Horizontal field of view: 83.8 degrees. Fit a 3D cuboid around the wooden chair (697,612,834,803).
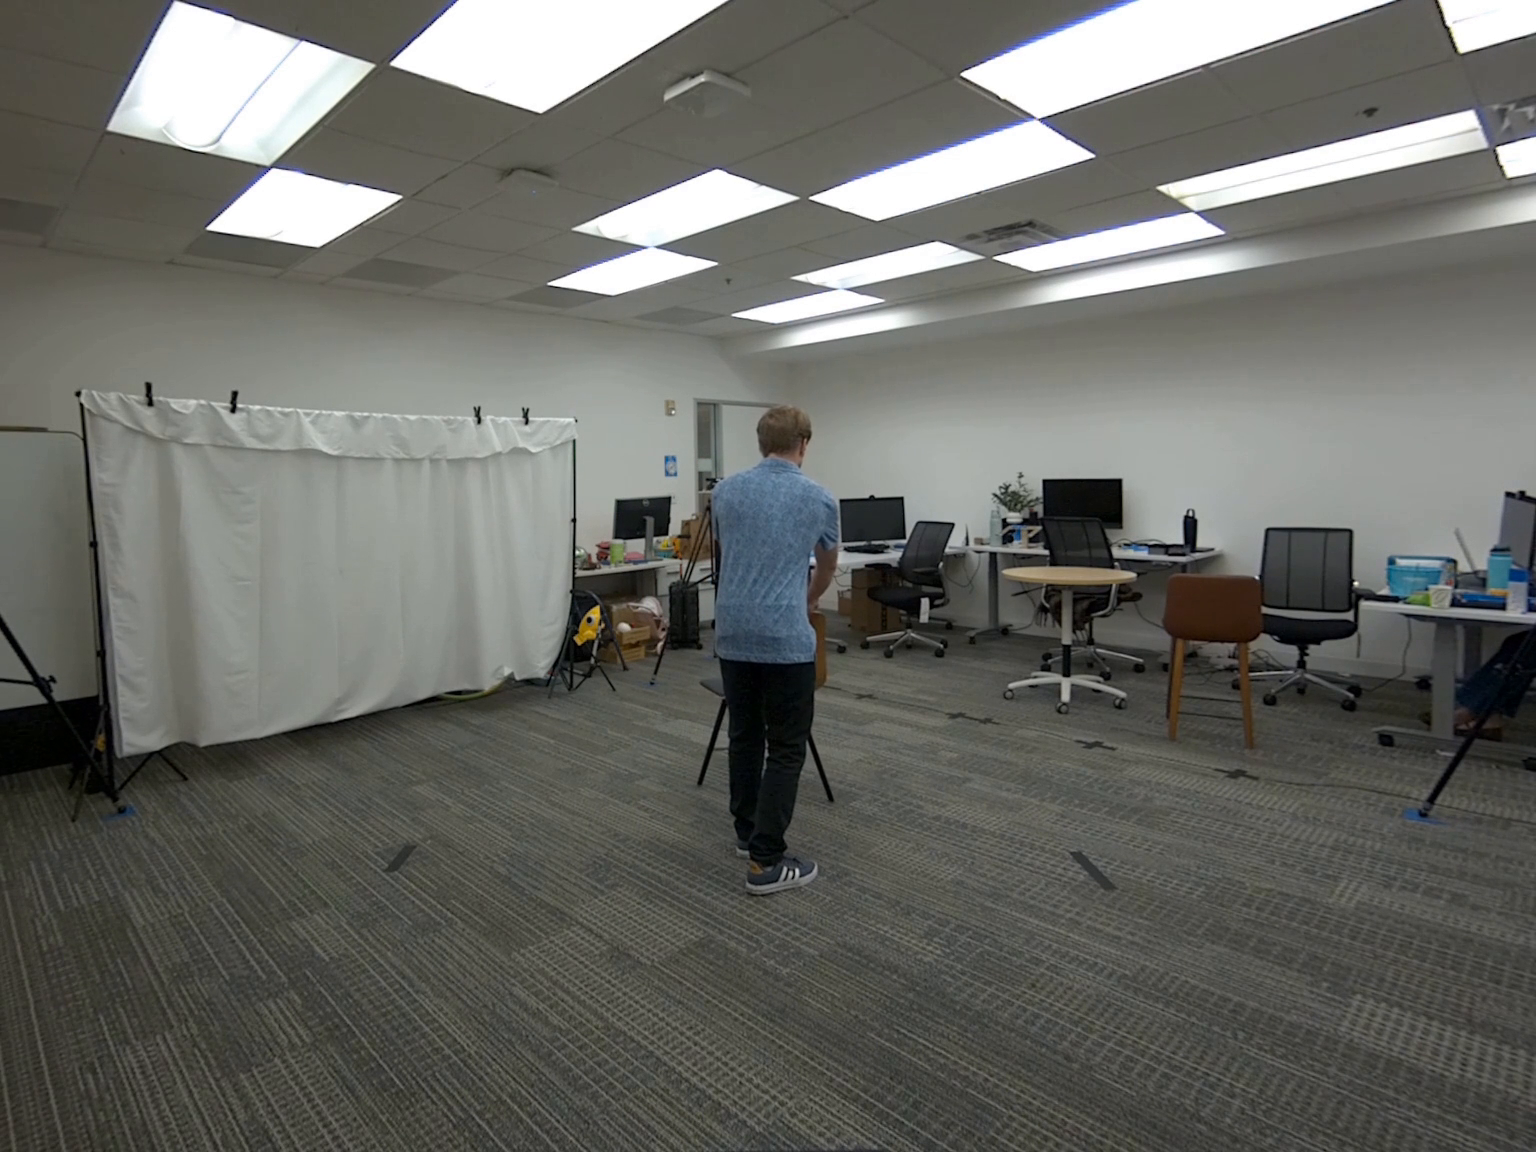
[{"bbox_3d":[-0.020,0.538,3.769,0.468,0.871,0.538,-3,9,-26],"label":"wooden chair"}]
